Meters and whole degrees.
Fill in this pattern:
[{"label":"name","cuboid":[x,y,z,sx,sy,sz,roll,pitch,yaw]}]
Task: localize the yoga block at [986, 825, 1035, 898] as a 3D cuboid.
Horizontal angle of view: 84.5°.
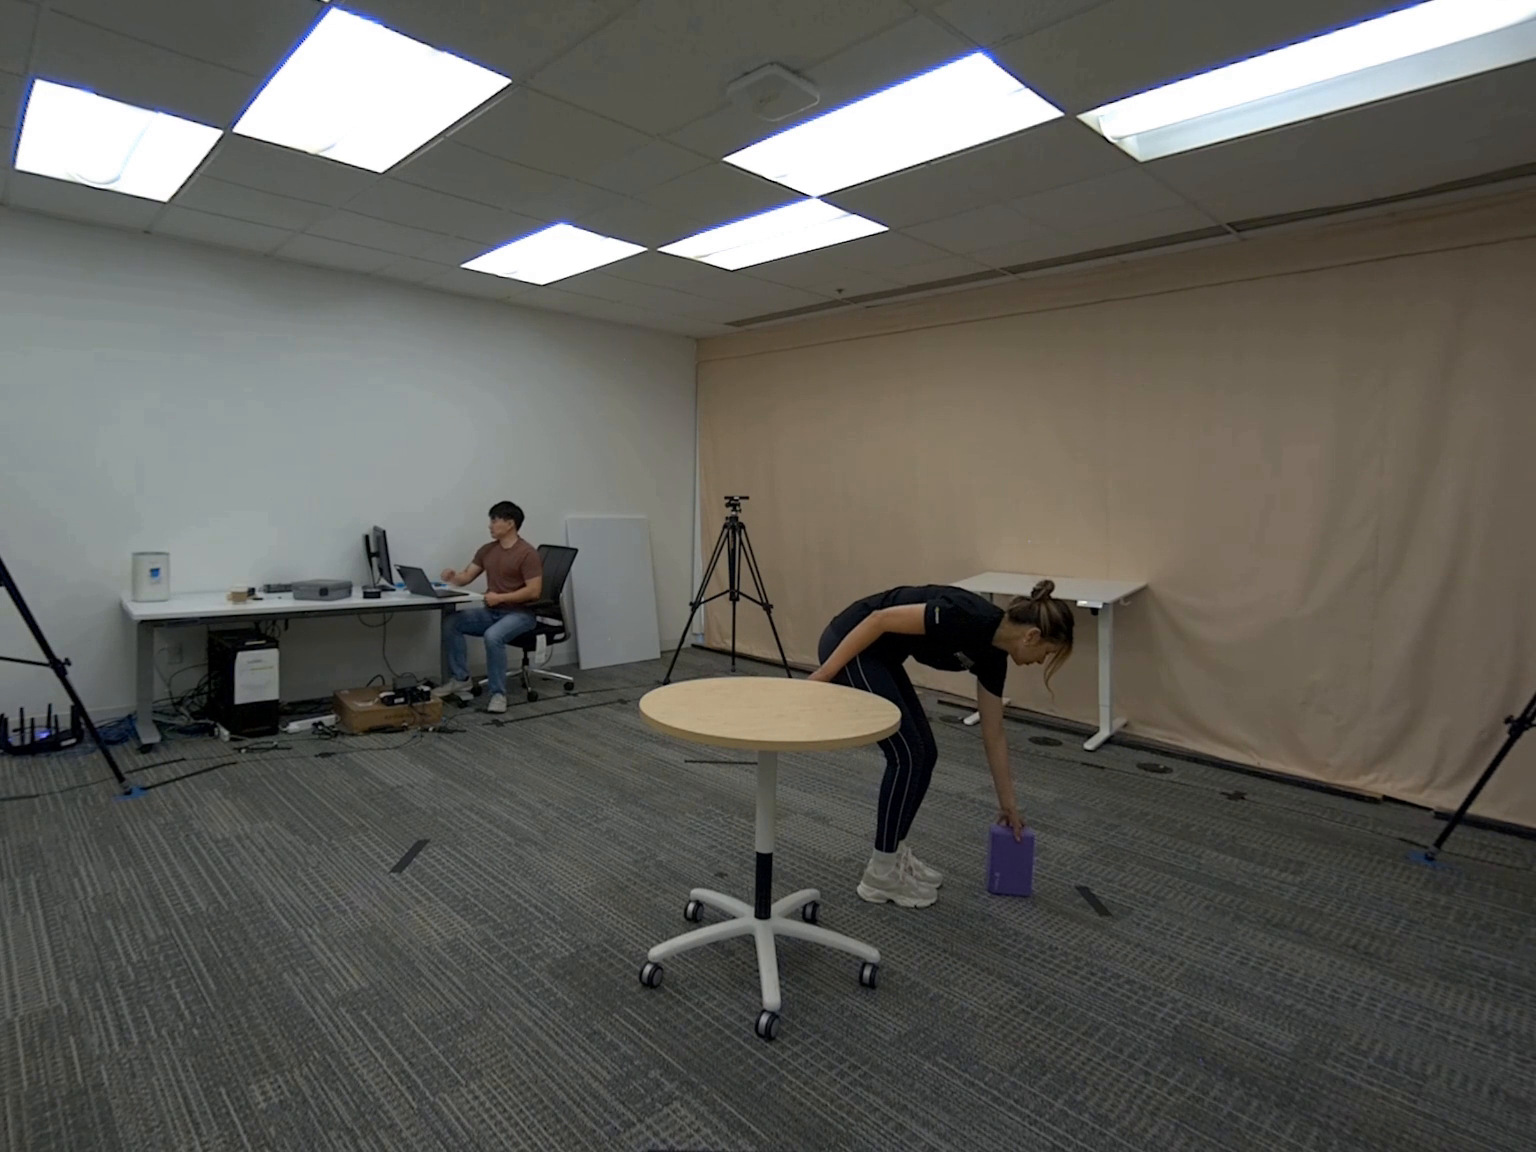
[{"label":"yoga block","cuboid":[0.860,1.022,3.028,0.150,0.229,0.076,3,1,7]}]
